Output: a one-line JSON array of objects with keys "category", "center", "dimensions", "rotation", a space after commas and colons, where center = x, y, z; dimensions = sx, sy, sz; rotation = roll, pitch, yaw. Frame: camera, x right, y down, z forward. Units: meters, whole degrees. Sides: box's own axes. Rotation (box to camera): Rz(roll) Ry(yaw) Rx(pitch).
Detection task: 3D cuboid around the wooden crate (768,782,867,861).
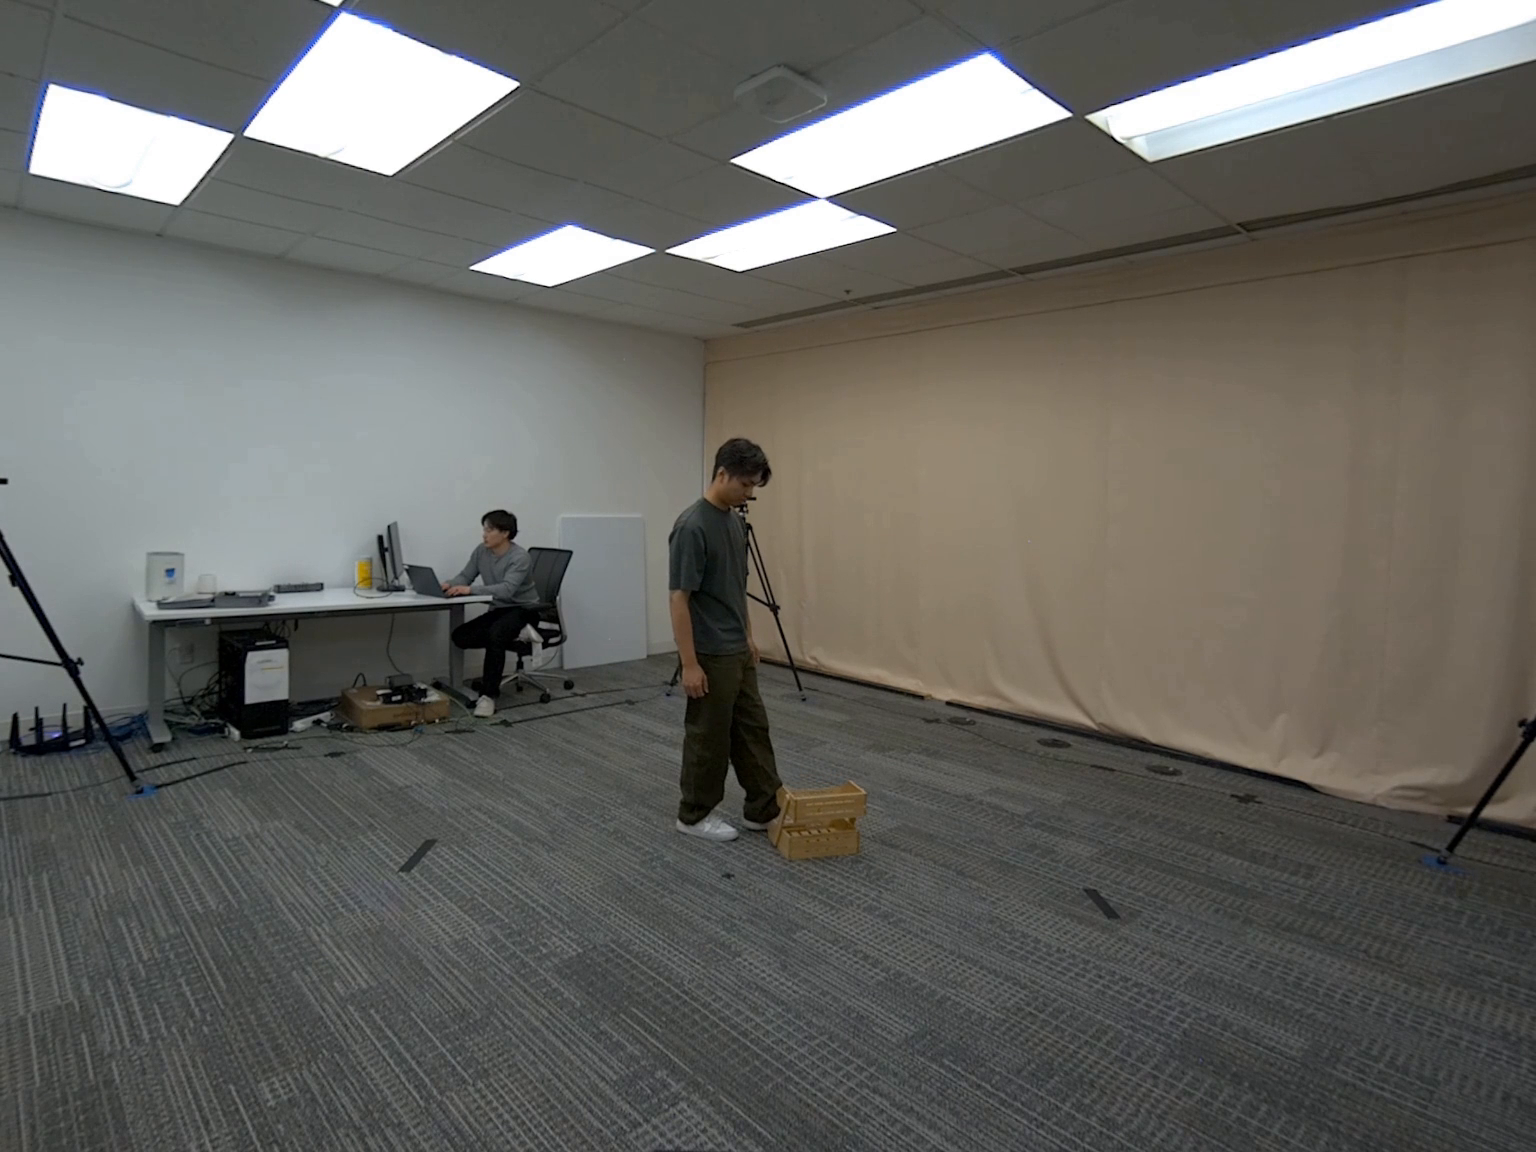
[{"category": "wooden crate", "center": [0.185, 0.957, 3.379], "dimensions": [0.320, 0.273, 0.307], "rotation": [0, 4, -18]}]
